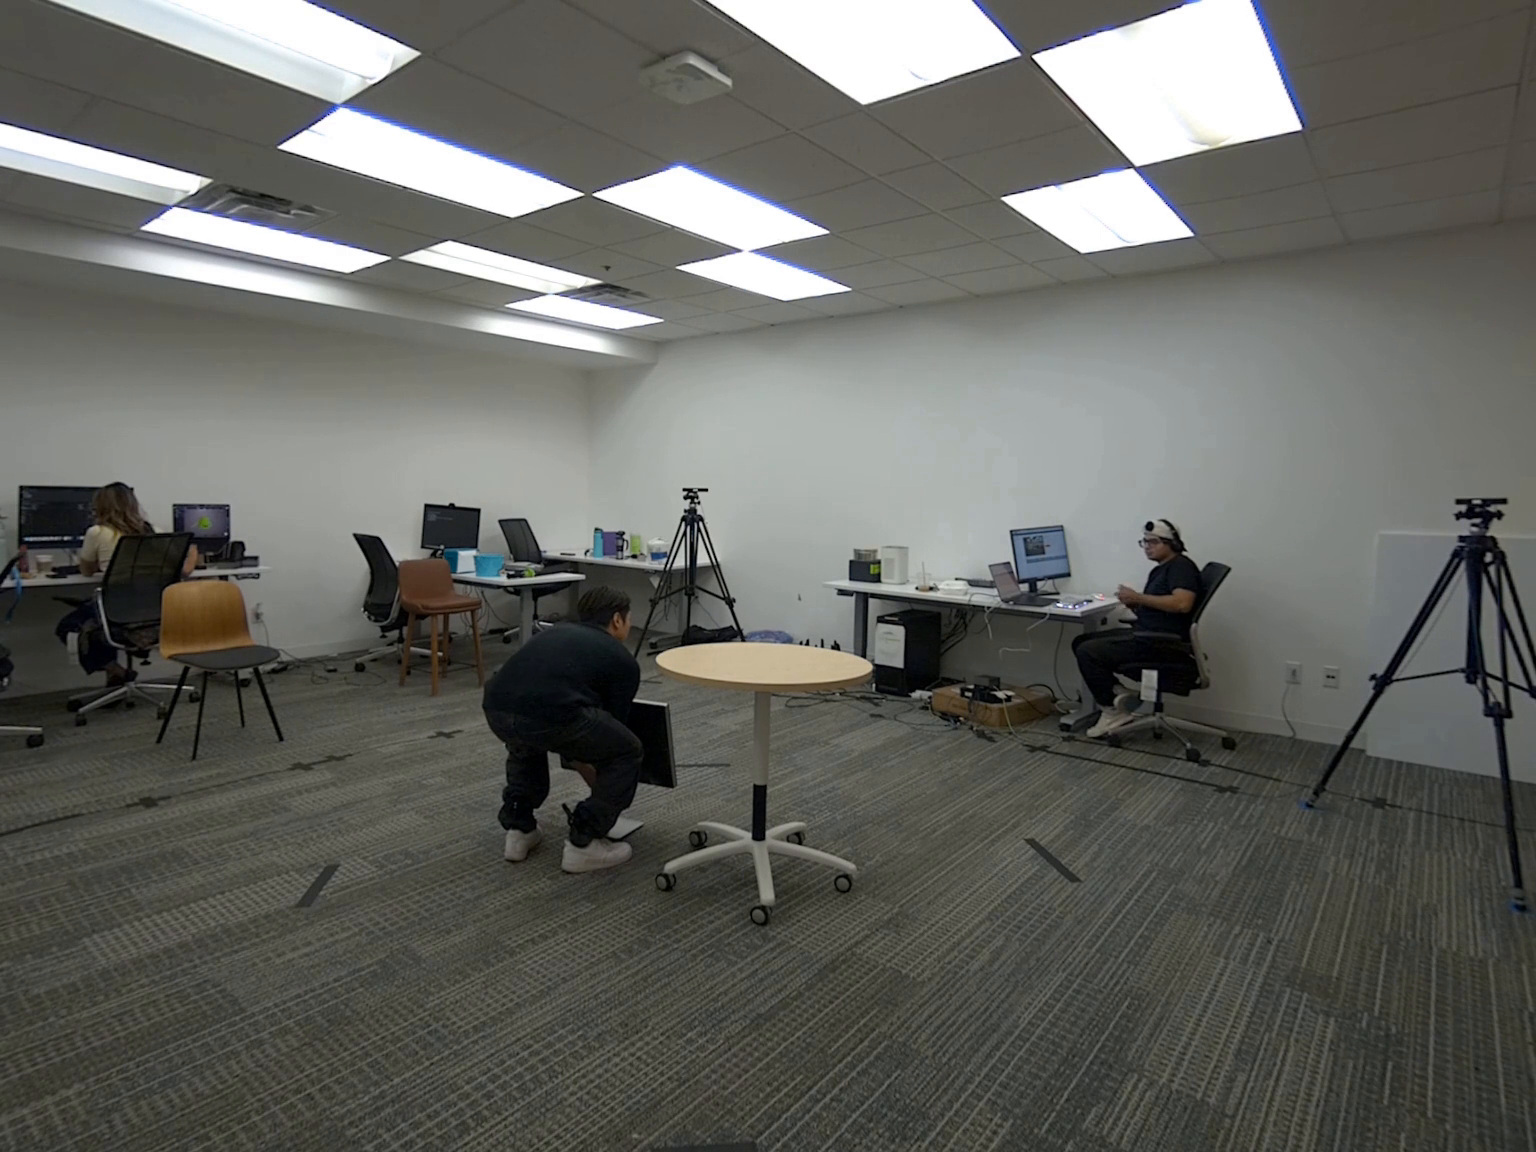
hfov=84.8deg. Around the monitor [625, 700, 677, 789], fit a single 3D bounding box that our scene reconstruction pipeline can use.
[{"bbox_3d":[-0.665,0.757,3.462,0.553,0.522,0.182,3,2,26],"label":"monitor"}]
